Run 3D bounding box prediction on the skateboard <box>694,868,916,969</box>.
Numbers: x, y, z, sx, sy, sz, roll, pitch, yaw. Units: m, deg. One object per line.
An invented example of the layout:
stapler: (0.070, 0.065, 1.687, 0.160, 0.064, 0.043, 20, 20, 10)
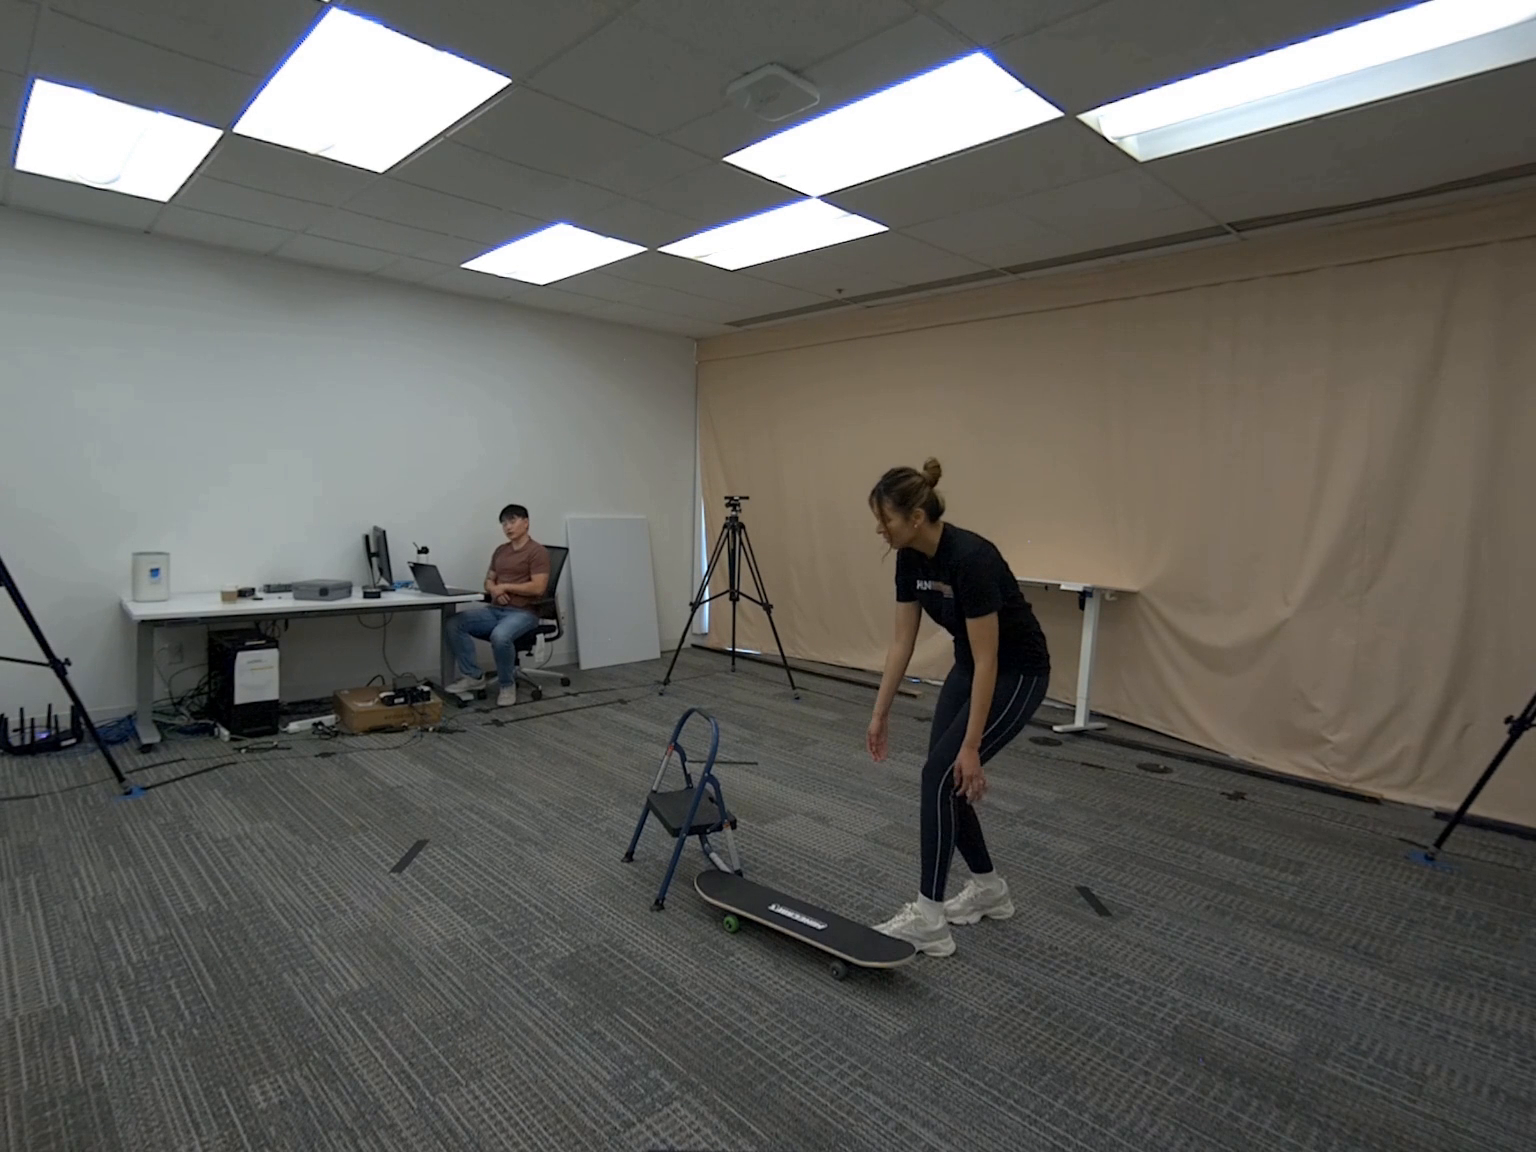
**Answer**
skateboard: (0.085, 1.095, 2.636, 0.805, 0.110, 0.189, 5, 5, 38)
